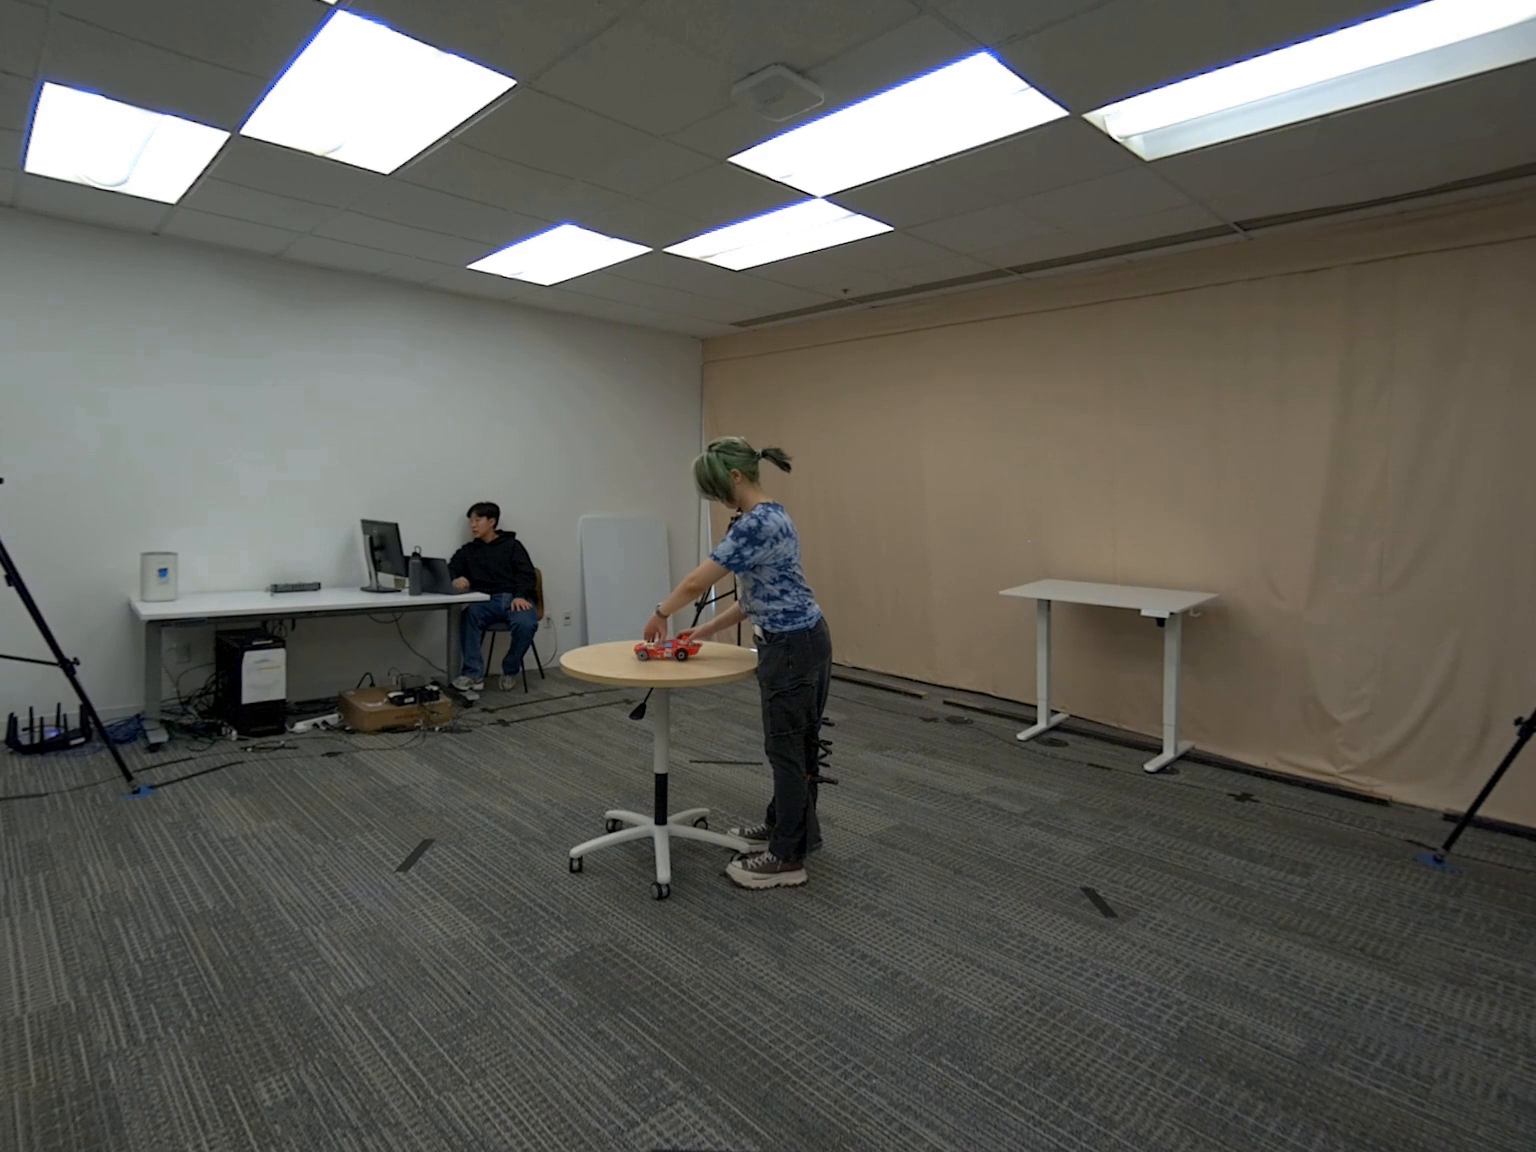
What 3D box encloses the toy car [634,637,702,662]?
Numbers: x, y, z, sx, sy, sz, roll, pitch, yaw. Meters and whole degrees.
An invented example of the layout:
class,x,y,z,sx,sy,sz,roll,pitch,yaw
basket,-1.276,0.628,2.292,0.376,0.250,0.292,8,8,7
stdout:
class,x,y,z,sx,sy,sz,roll,pitch,yaw
toy car,-0.374,0.278,3.162,0.255,0.083,0.130,-11,5,3
